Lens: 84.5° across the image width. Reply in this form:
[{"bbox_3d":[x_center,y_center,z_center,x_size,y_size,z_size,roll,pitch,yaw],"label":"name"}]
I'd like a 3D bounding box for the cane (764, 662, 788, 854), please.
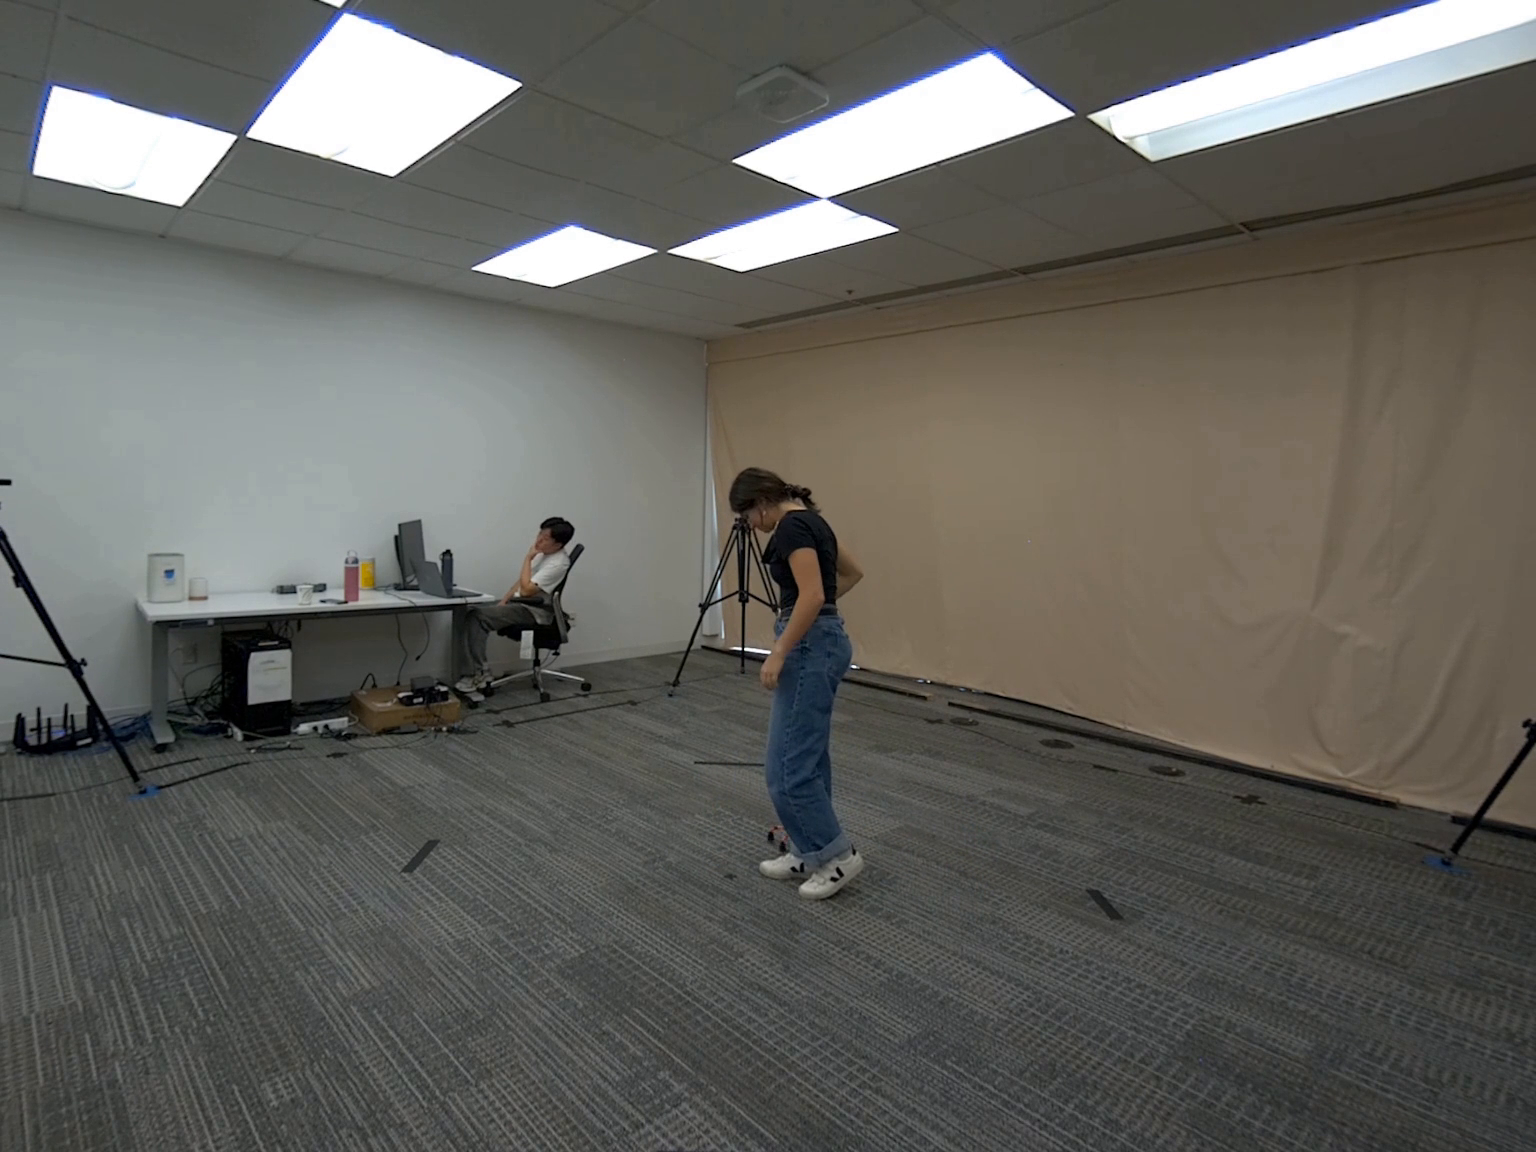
[{"bbox_3d":[0.086,0.628,3.370,0.203,0.907,0.154,-2,2,-22],"label":"cane"}]
